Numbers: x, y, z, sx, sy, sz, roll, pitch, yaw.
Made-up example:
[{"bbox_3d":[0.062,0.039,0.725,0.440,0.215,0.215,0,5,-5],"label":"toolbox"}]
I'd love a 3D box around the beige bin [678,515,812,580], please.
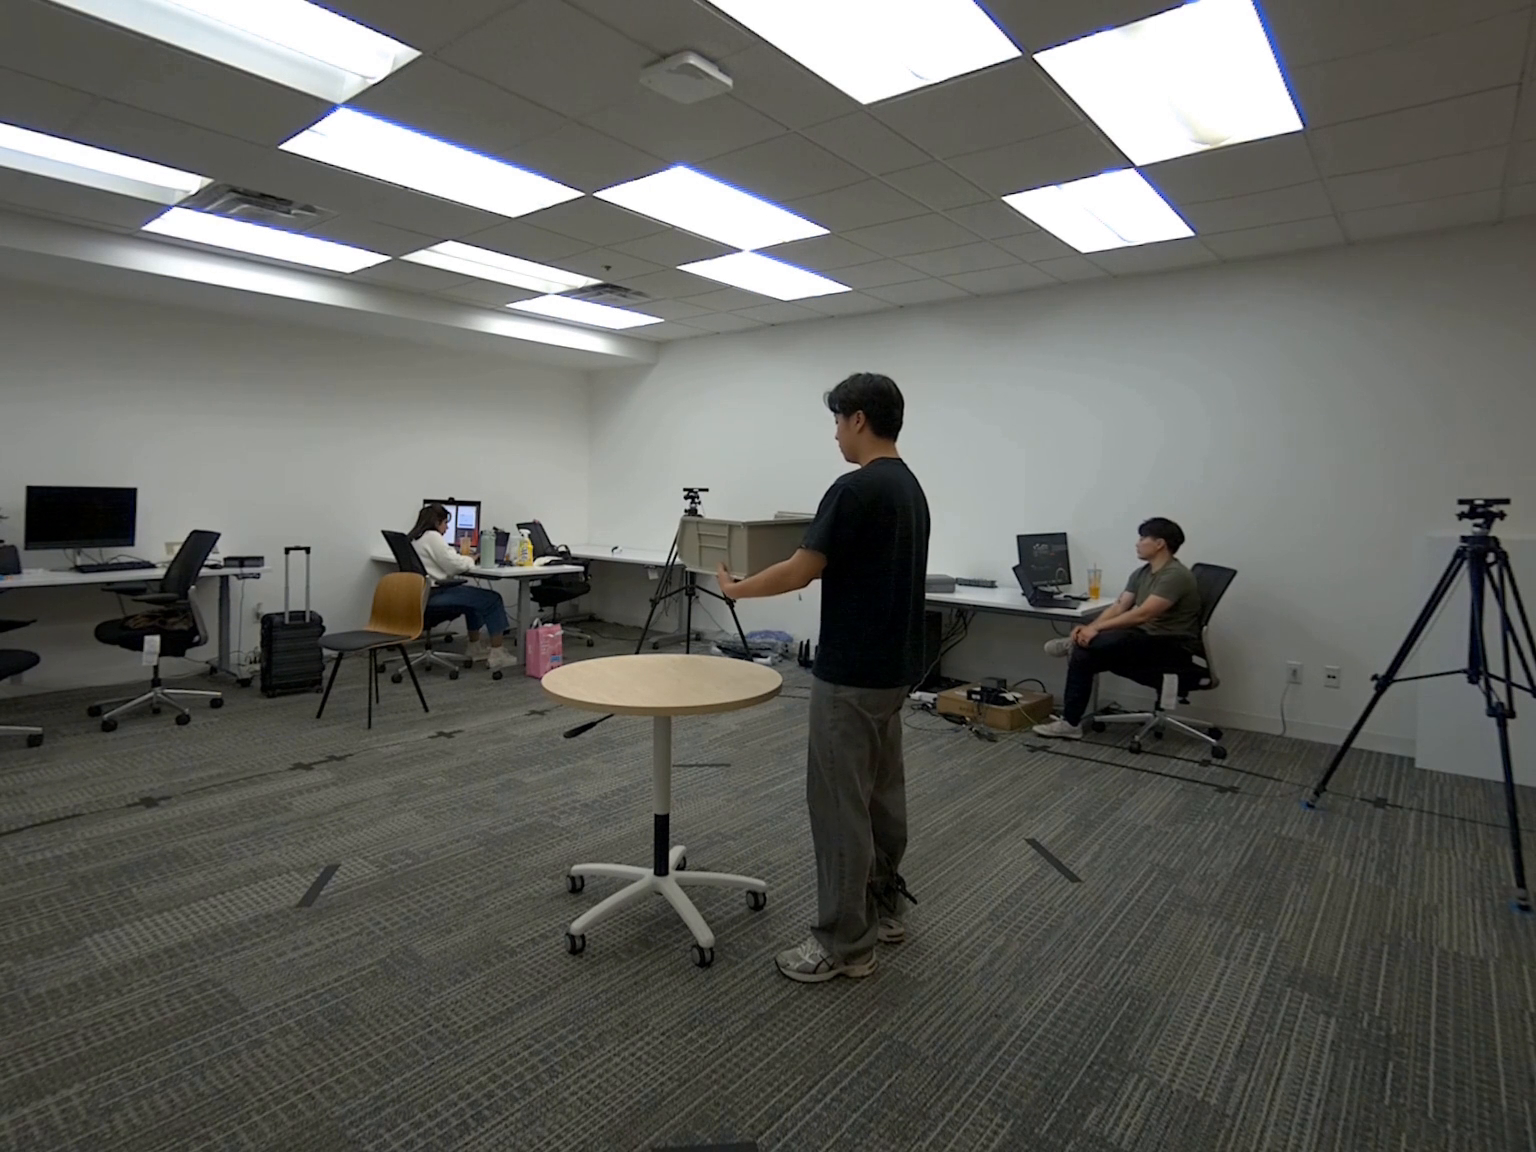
[{"bbox_3d":[-0.038,-0.110,2.820,0.410,0.188,0.391,-6,10,-39],"label":"beige bin"}]
